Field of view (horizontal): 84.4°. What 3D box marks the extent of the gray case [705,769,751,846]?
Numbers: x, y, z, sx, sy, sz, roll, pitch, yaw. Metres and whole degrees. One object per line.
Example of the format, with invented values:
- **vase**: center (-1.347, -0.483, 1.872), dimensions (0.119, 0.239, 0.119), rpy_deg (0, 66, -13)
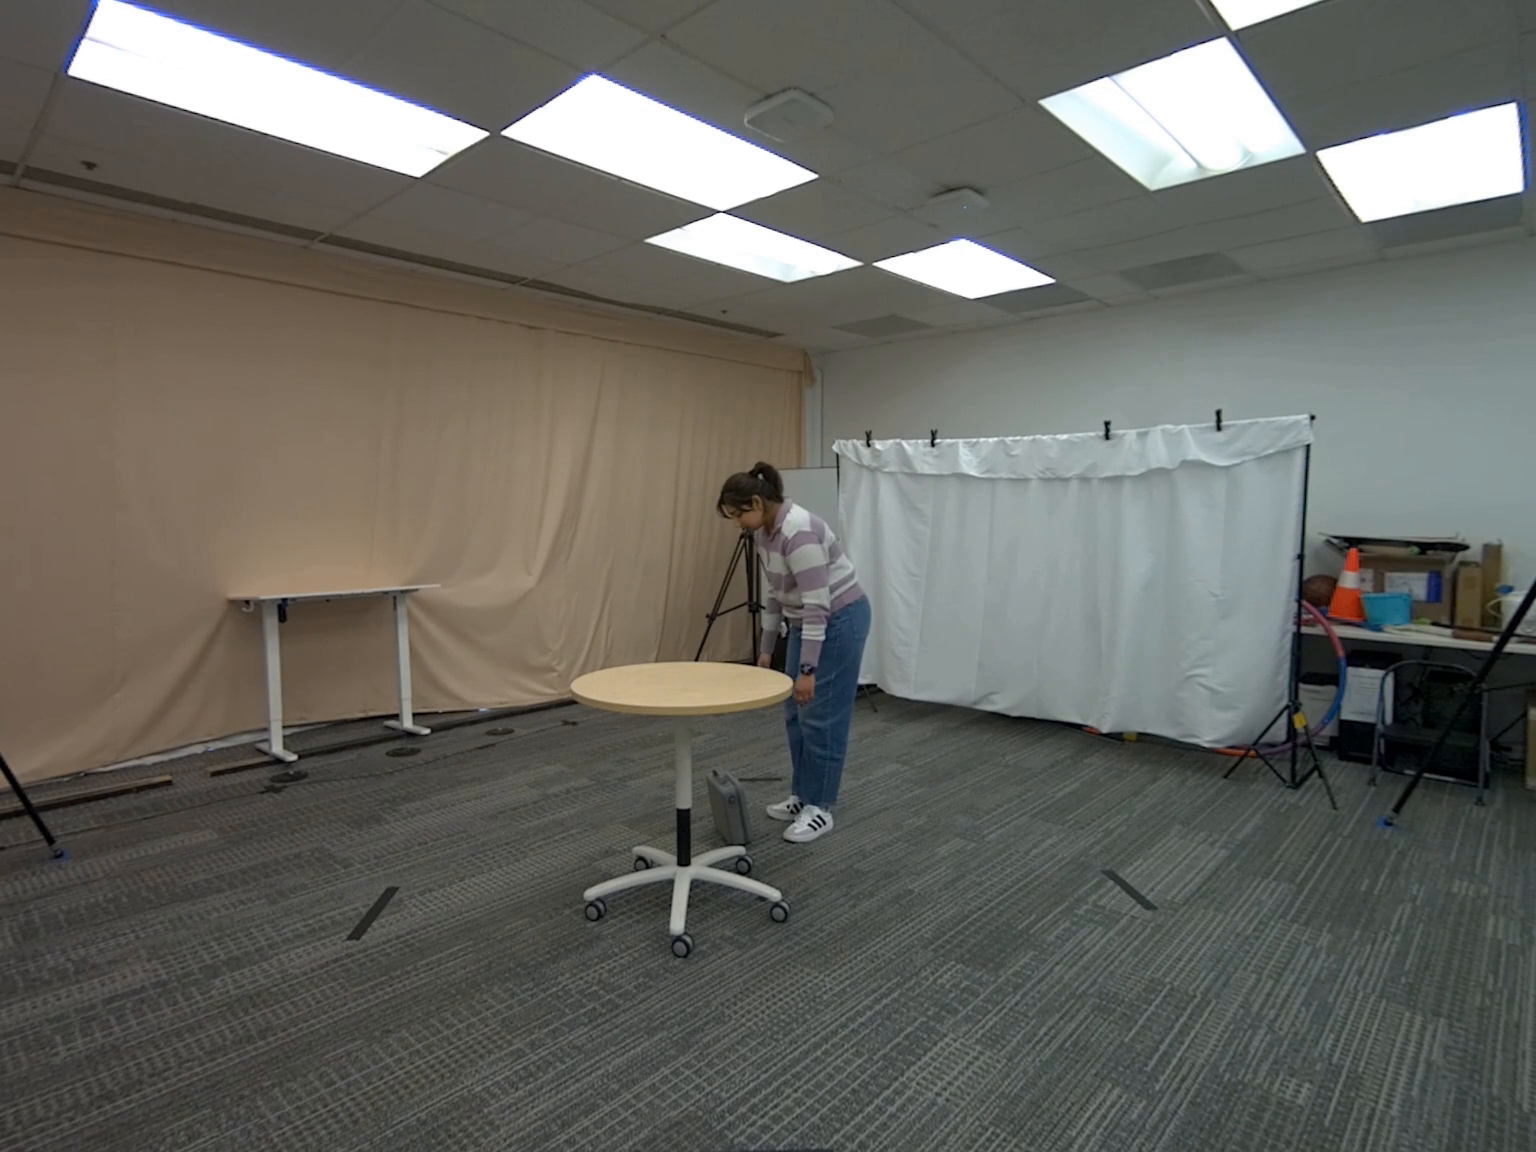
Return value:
- **gray case**: center (-0.159, 0.961, 3.536), dimensions (0.103, 0.259, 0.262), rpy_deg (-9, 7, -17)
